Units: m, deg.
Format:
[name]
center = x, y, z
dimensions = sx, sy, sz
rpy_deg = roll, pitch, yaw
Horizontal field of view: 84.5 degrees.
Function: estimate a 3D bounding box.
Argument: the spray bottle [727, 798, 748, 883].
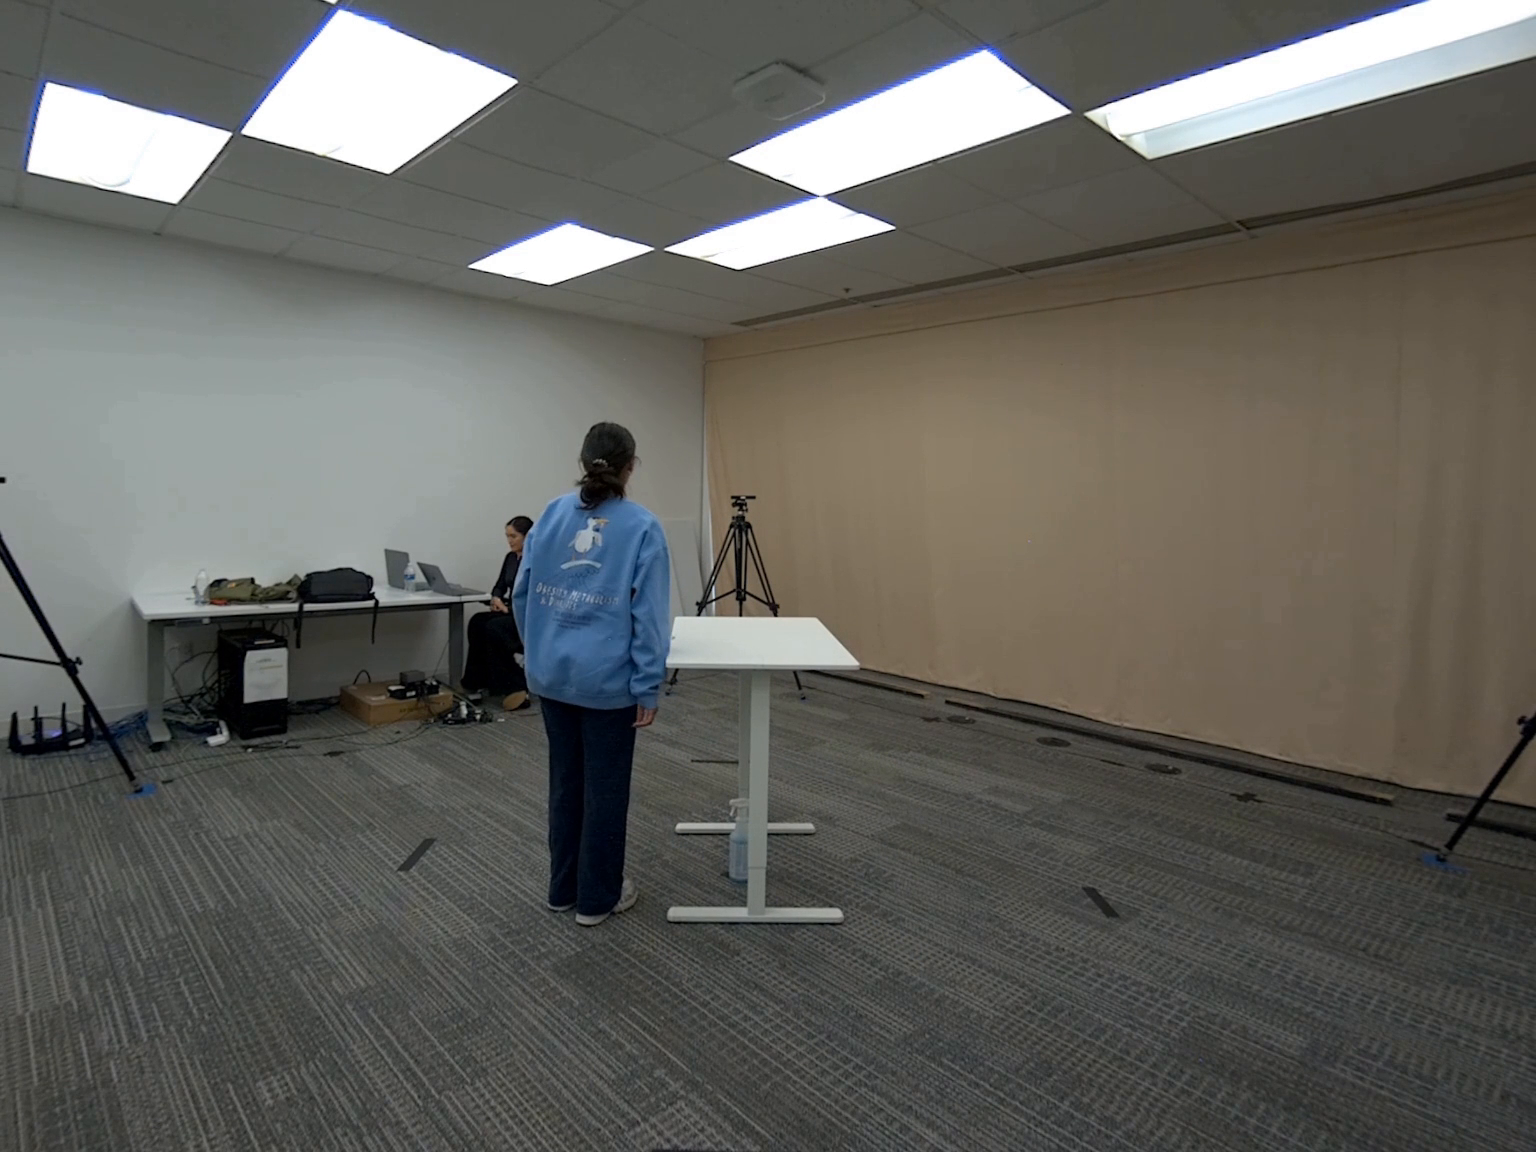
[spray bottle]
center = -0.108, 0.961, 3.070
dimensions = 0.089, 0.296, 0.088
rpy_deg = 2, 5, -7
